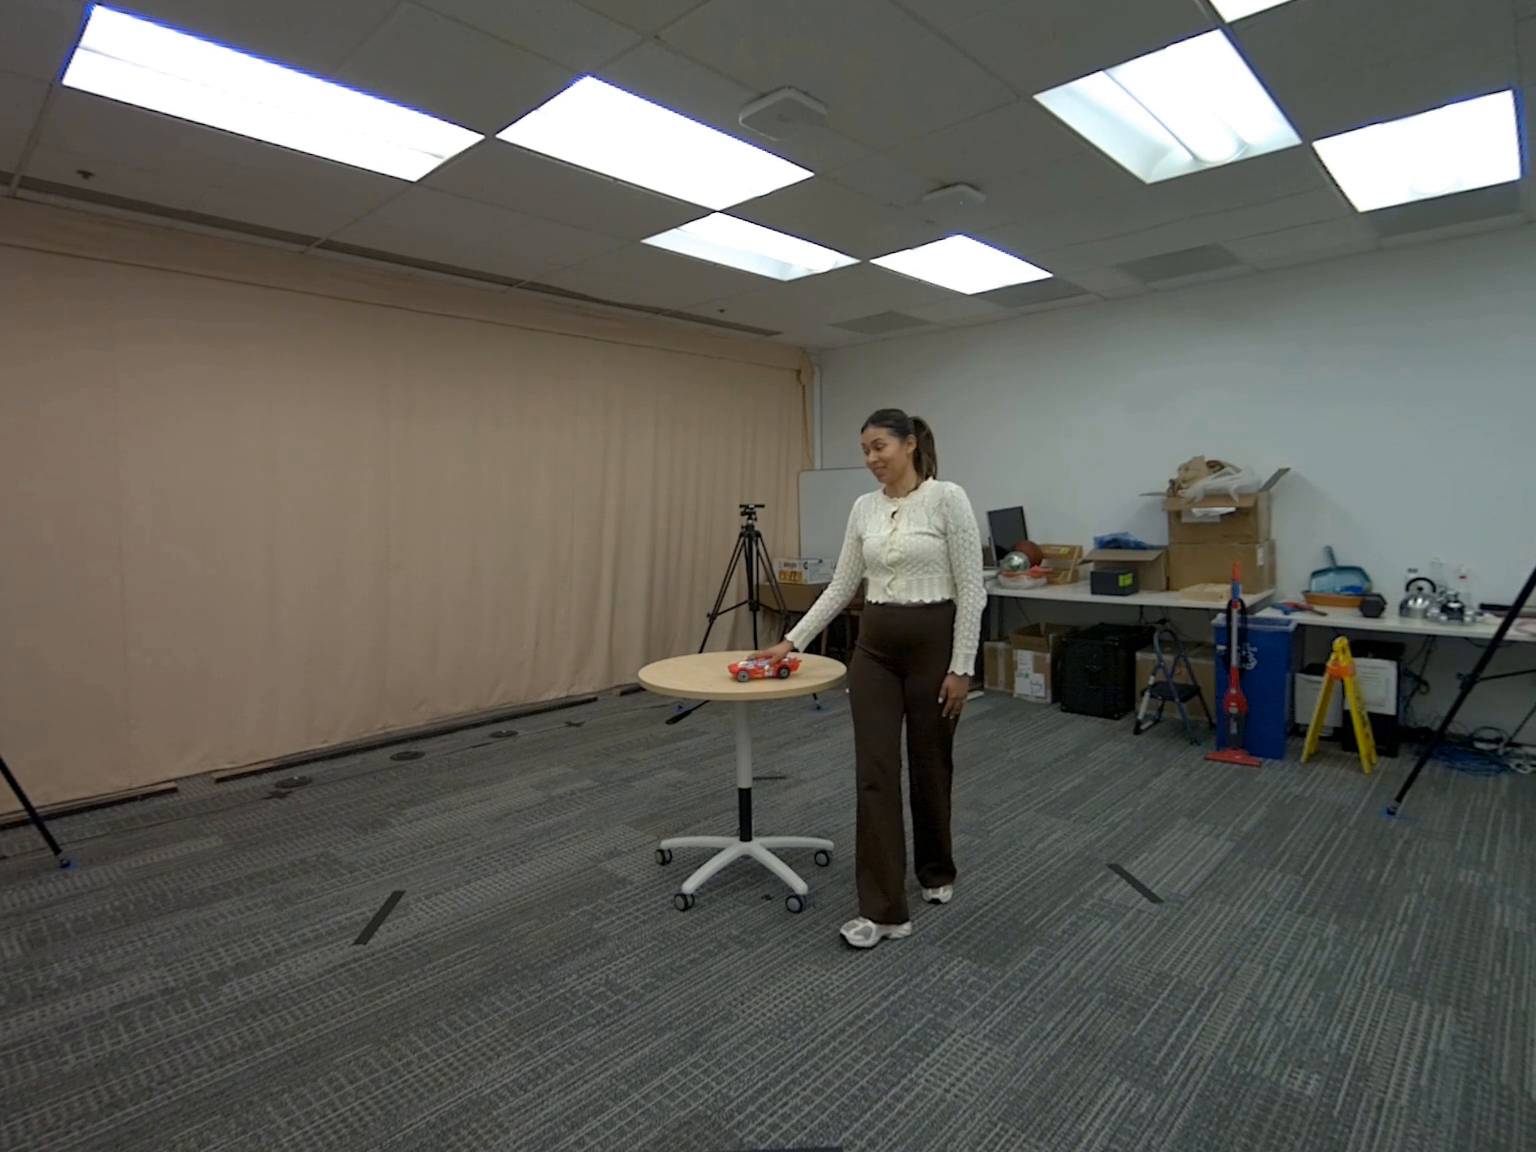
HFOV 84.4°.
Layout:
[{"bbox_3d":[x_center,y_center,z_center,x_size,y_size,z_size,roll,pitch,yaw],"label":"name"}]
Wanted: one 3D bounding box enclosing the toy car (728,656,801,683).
[{"bbox_3d":[-0.004,0.325,2.957,0.252,0.083,0.132,-14,8,-10],"label":"toy car"}]
